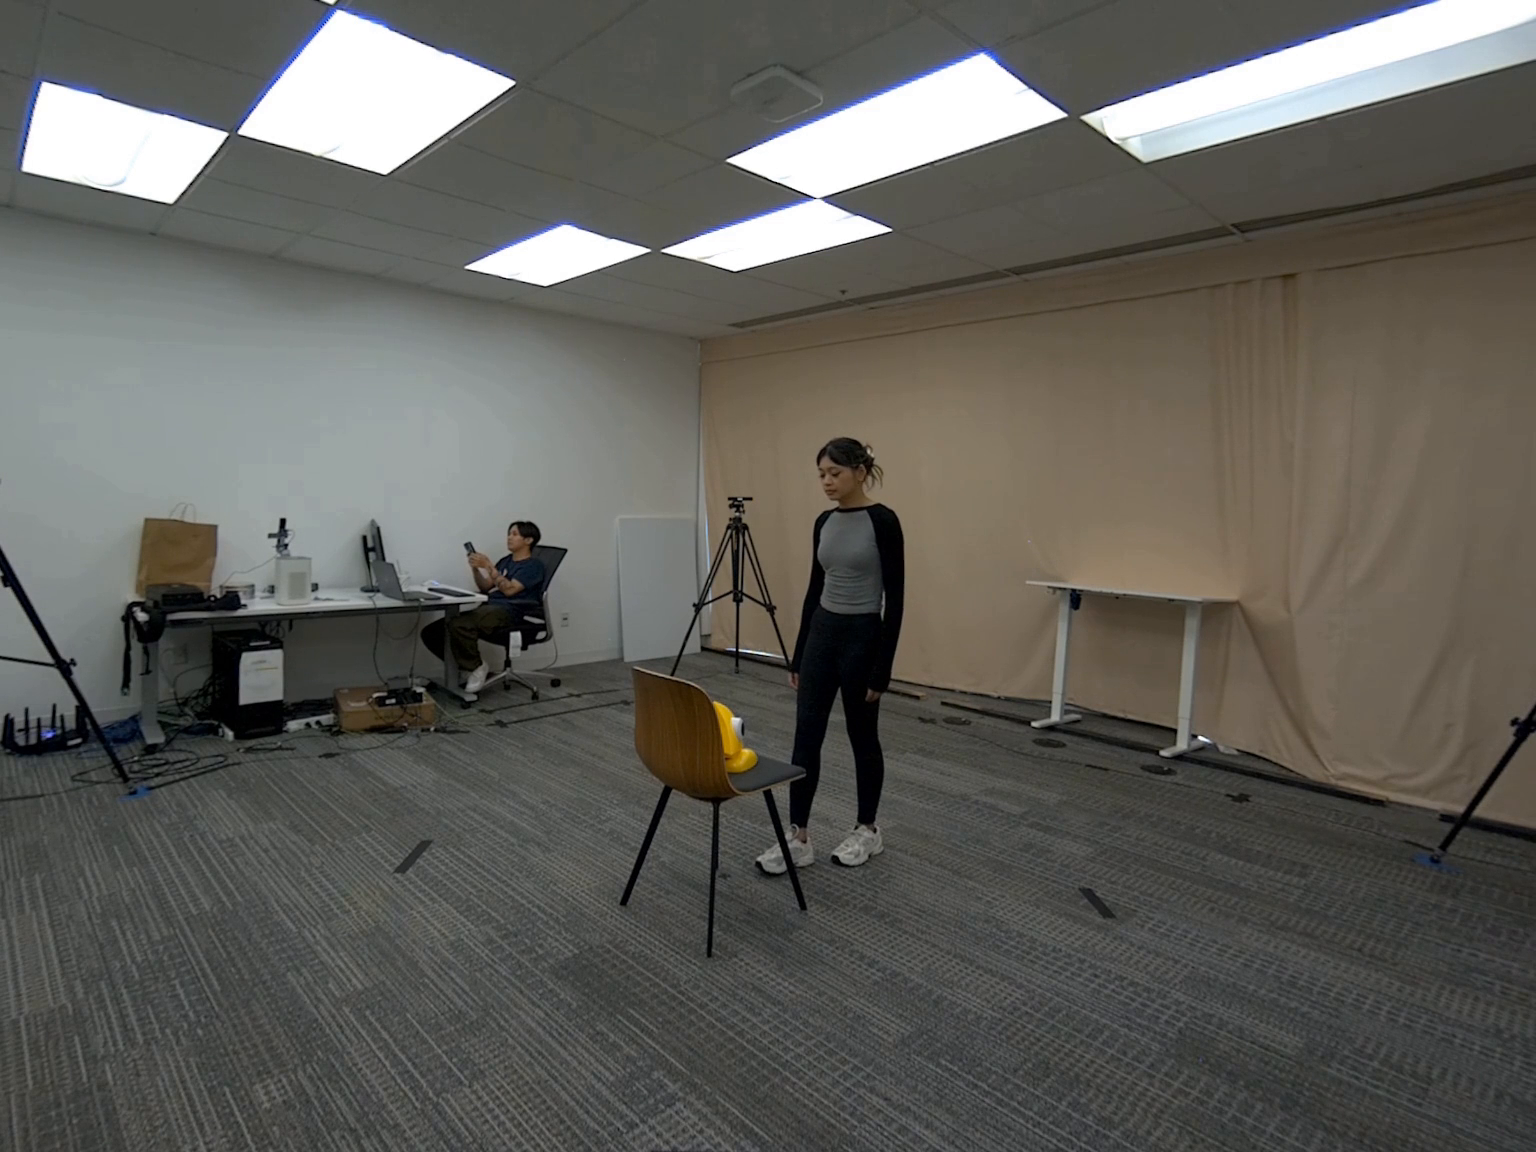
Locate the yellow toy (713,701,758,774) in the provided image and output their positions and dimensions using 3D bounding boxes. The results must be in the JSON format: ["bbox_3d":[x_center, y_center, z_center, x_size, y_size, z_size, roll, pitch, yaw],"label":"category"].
[{"bbox_3d":[-0.148,0.532,2.890,0.210,0.229,0.189,6,11,38],"label":"yellow toy"}]
